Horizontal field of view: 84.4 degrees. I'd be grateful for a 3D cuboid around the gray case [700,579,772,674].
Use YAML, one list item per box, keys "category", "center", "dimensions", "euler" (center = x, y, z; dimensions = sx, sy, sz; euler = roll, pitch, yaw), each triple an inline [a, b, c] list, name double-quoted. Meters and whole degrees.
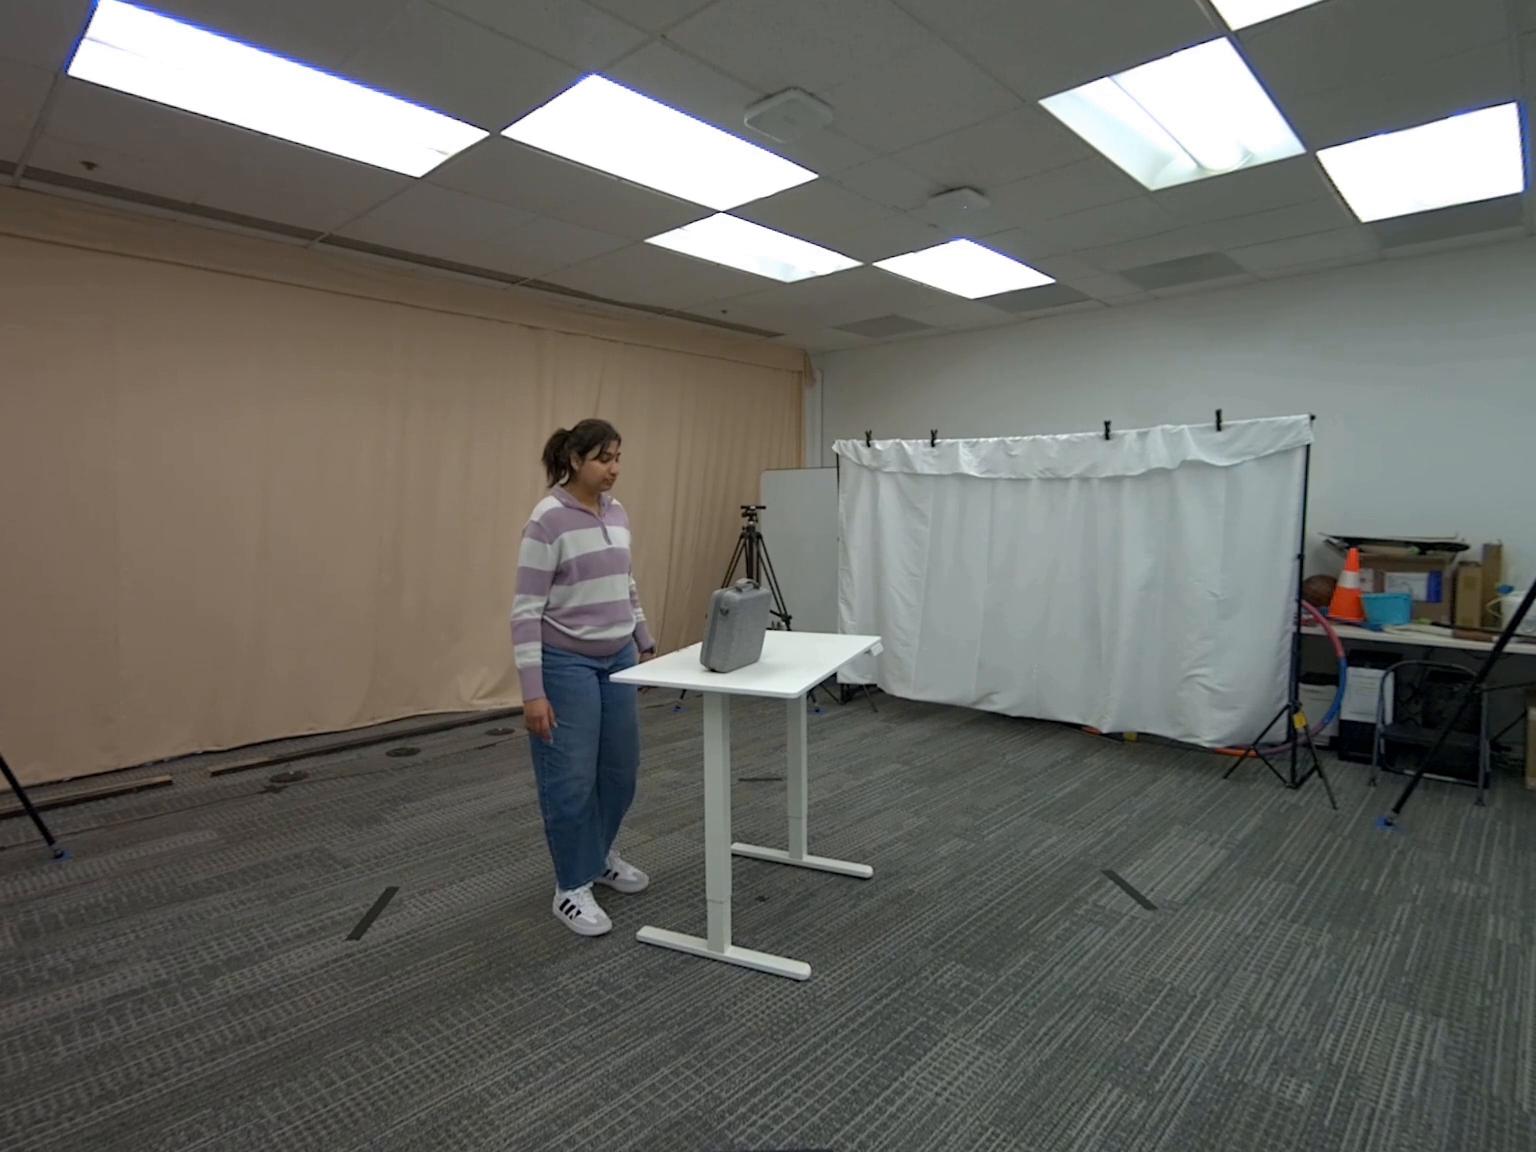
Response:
- category: "gray case"
  center: [-0.091, 0.158, 2.663]
  dimensions: [0.107, 0.259, 0.250]
  euler: [16, 12, 26]
